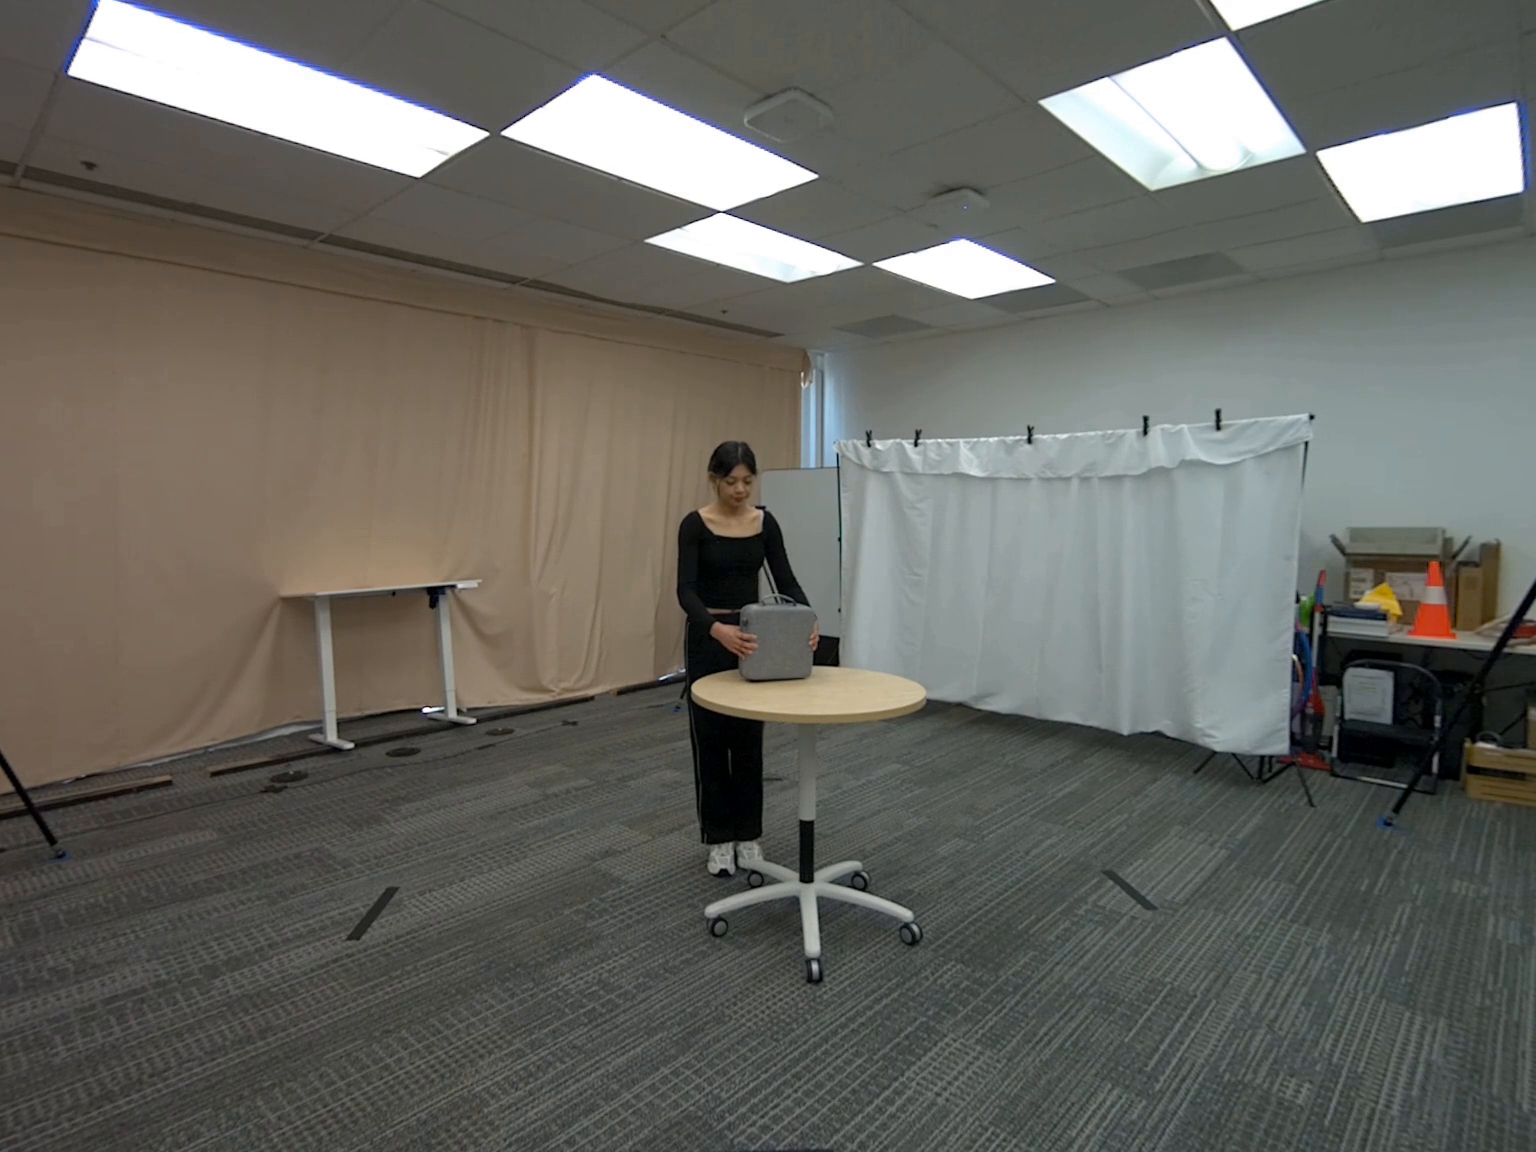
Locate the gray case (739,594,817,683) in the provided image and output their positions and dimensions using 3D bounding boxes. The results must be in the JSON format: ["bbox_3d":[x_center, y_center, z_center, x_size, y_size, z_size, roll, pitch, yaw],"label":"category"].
[{"bbox_3d":[0.039,0.222,2.902,0.251,0.260,0.107,1,4,-22],"label":"gray case"}]
